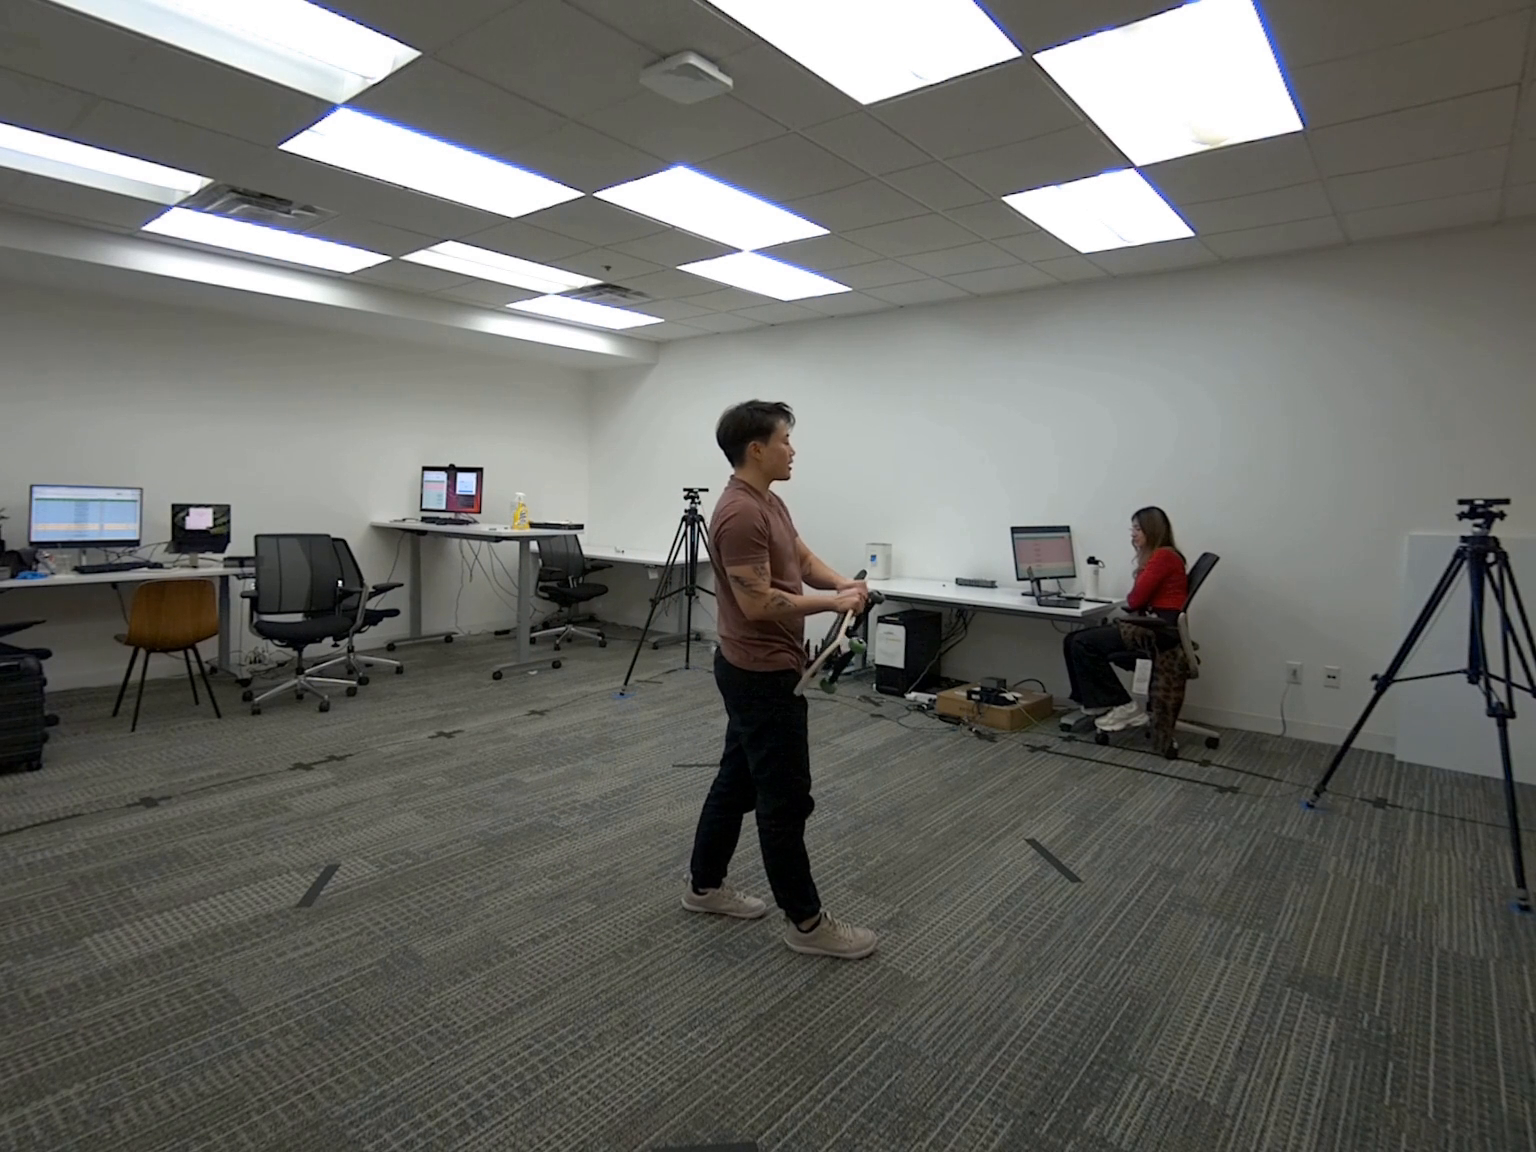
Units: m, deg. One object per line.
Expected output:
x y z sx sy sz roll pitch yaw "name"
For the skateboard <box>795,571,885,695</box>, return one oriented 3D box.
0.233 0.170 2.557 0.111 0.192 0.783 33 25 5 "skateboard"
